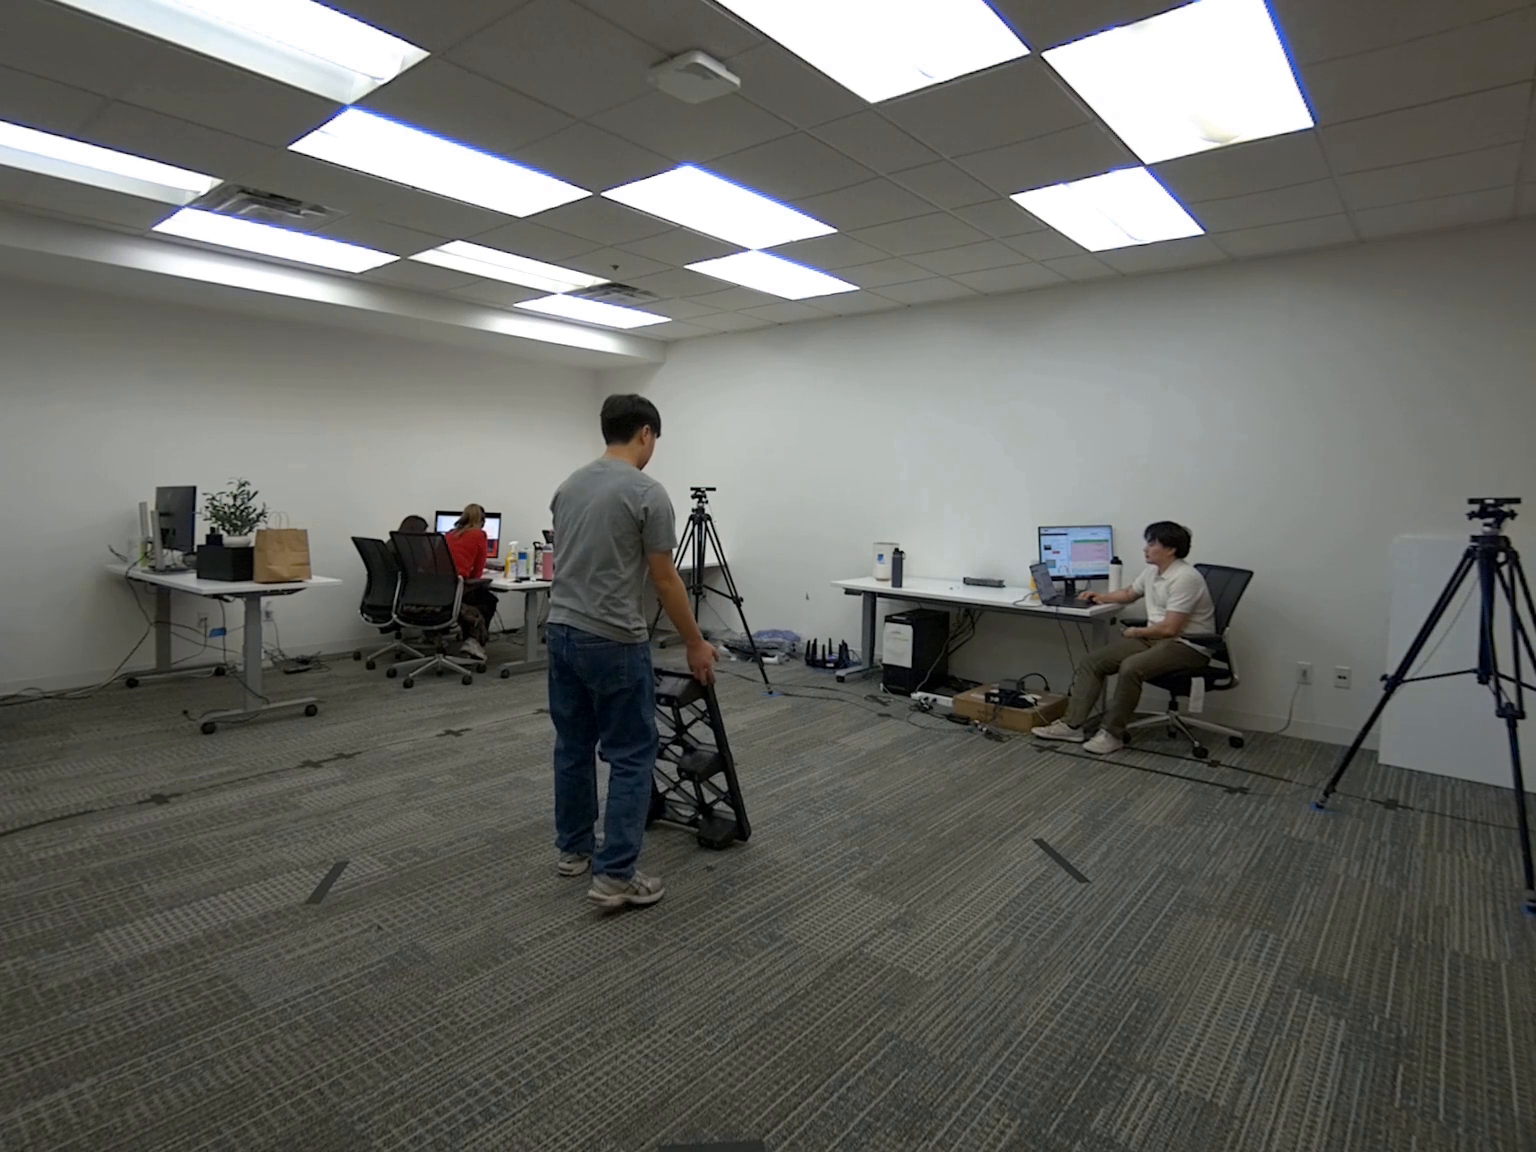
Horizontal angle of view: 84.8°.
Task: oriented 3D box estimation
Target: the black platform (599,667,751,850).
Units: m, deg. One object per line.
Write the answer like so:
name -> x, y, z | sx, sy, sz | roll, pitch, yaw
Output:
black platform -> -0.424, 0.691, 3.273 | 0.623, 0.784, 0.143 | 3, 29, 30
